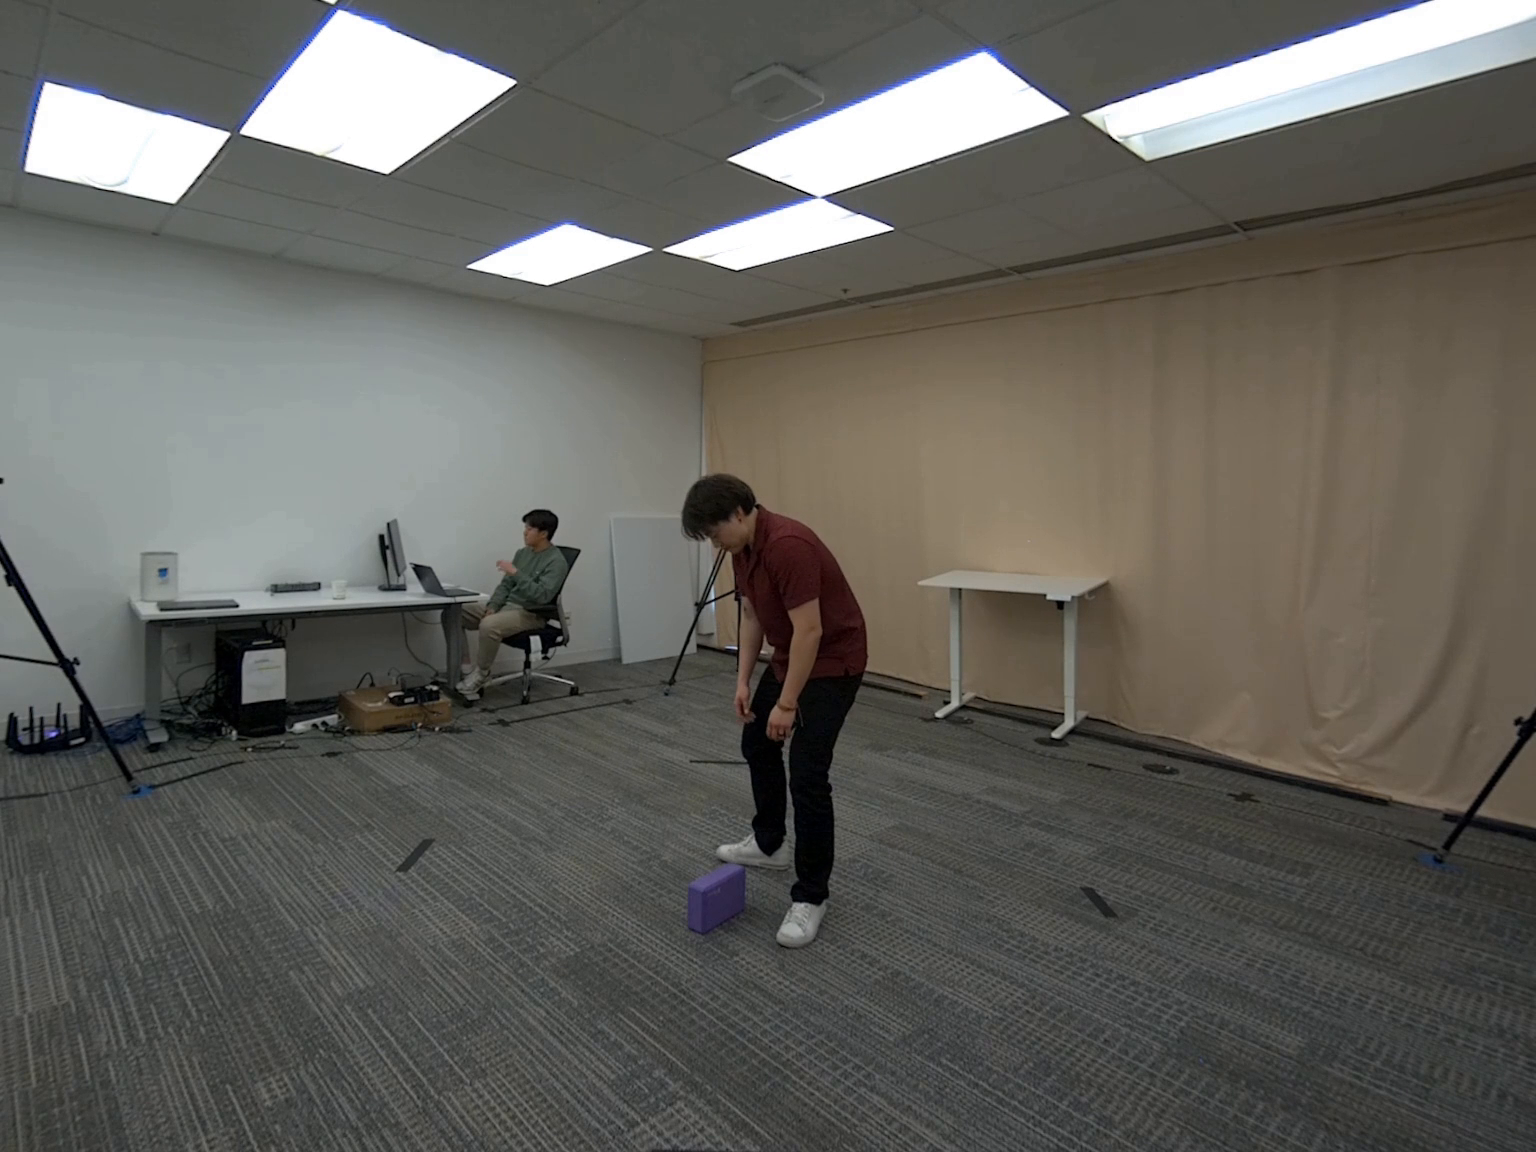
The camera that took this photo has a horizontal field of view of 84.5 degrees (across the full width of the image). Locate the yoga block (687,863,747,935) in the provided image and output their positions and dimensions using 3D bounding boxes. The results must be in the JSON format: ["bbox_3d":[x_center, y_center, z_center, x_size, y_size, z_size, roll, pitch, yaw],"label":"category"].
[{"bbox_3d":[-0.173,1.055,2.773,0.078,0.148,0.225,3,5,34],"label":"yoga block"}]
